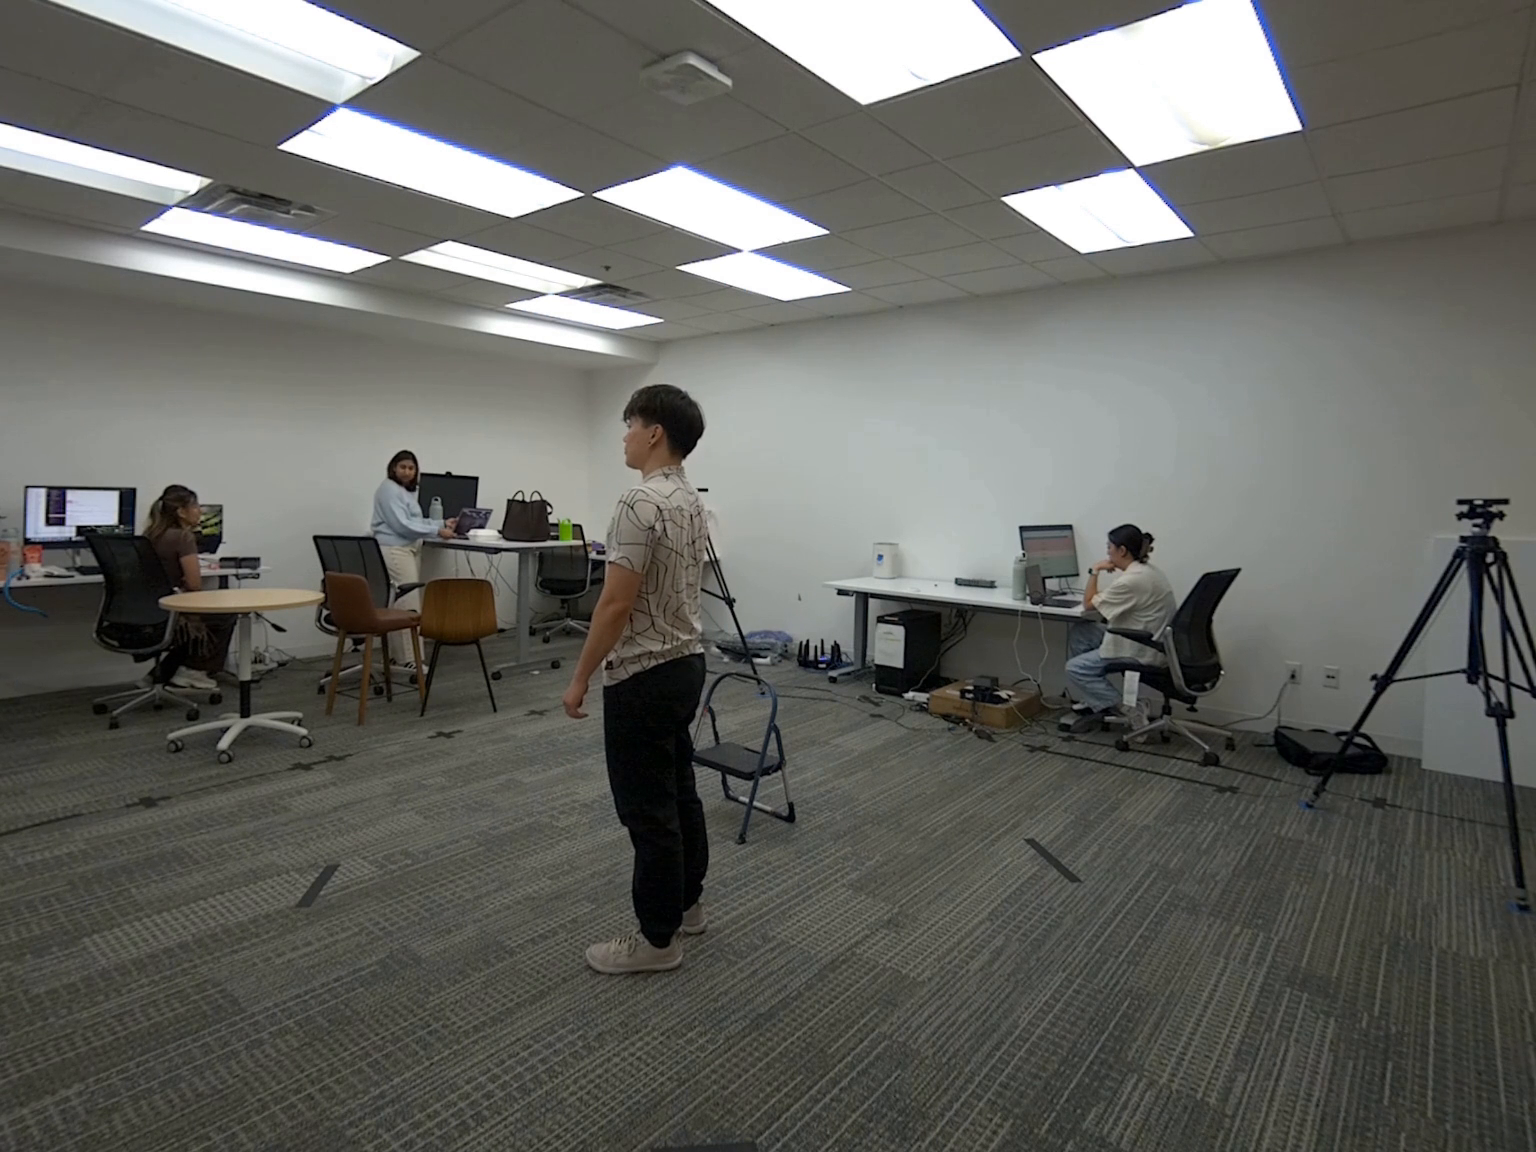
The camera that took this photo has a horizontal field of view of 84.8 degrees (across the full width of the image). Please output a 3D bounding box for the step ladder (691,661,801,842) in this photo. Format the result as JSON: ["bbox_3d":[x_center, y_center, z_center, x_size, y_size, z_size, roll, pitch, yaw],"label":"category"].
[{"bbox_3d":[-0.147,0.717,3.585,0.445,0.604,0.338,4,4,44],"label":"step ladder"}]
